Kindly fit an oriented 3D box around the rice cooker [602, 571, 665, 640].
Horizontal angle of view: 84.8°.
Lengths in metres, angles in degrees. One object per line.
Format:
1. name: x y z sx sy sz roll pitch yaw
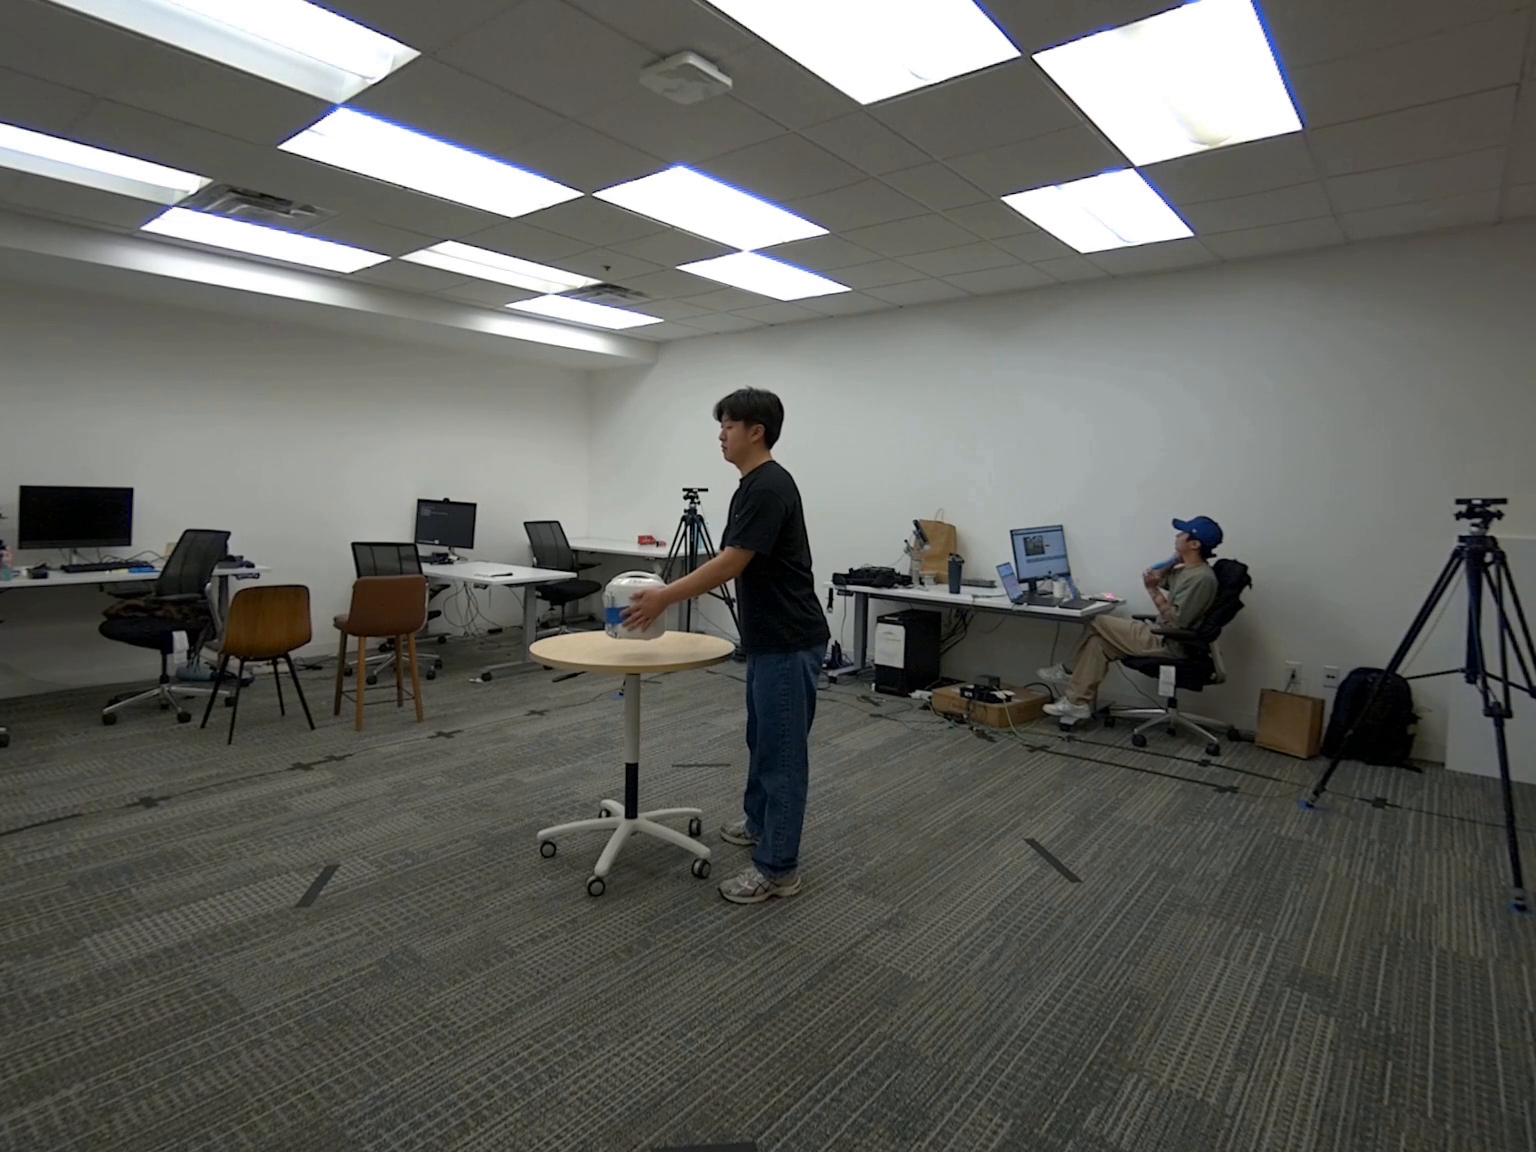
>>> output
1. rice cooker: -0.475 0.096 2.999 0.221 0.233 0.217 2 0 1
